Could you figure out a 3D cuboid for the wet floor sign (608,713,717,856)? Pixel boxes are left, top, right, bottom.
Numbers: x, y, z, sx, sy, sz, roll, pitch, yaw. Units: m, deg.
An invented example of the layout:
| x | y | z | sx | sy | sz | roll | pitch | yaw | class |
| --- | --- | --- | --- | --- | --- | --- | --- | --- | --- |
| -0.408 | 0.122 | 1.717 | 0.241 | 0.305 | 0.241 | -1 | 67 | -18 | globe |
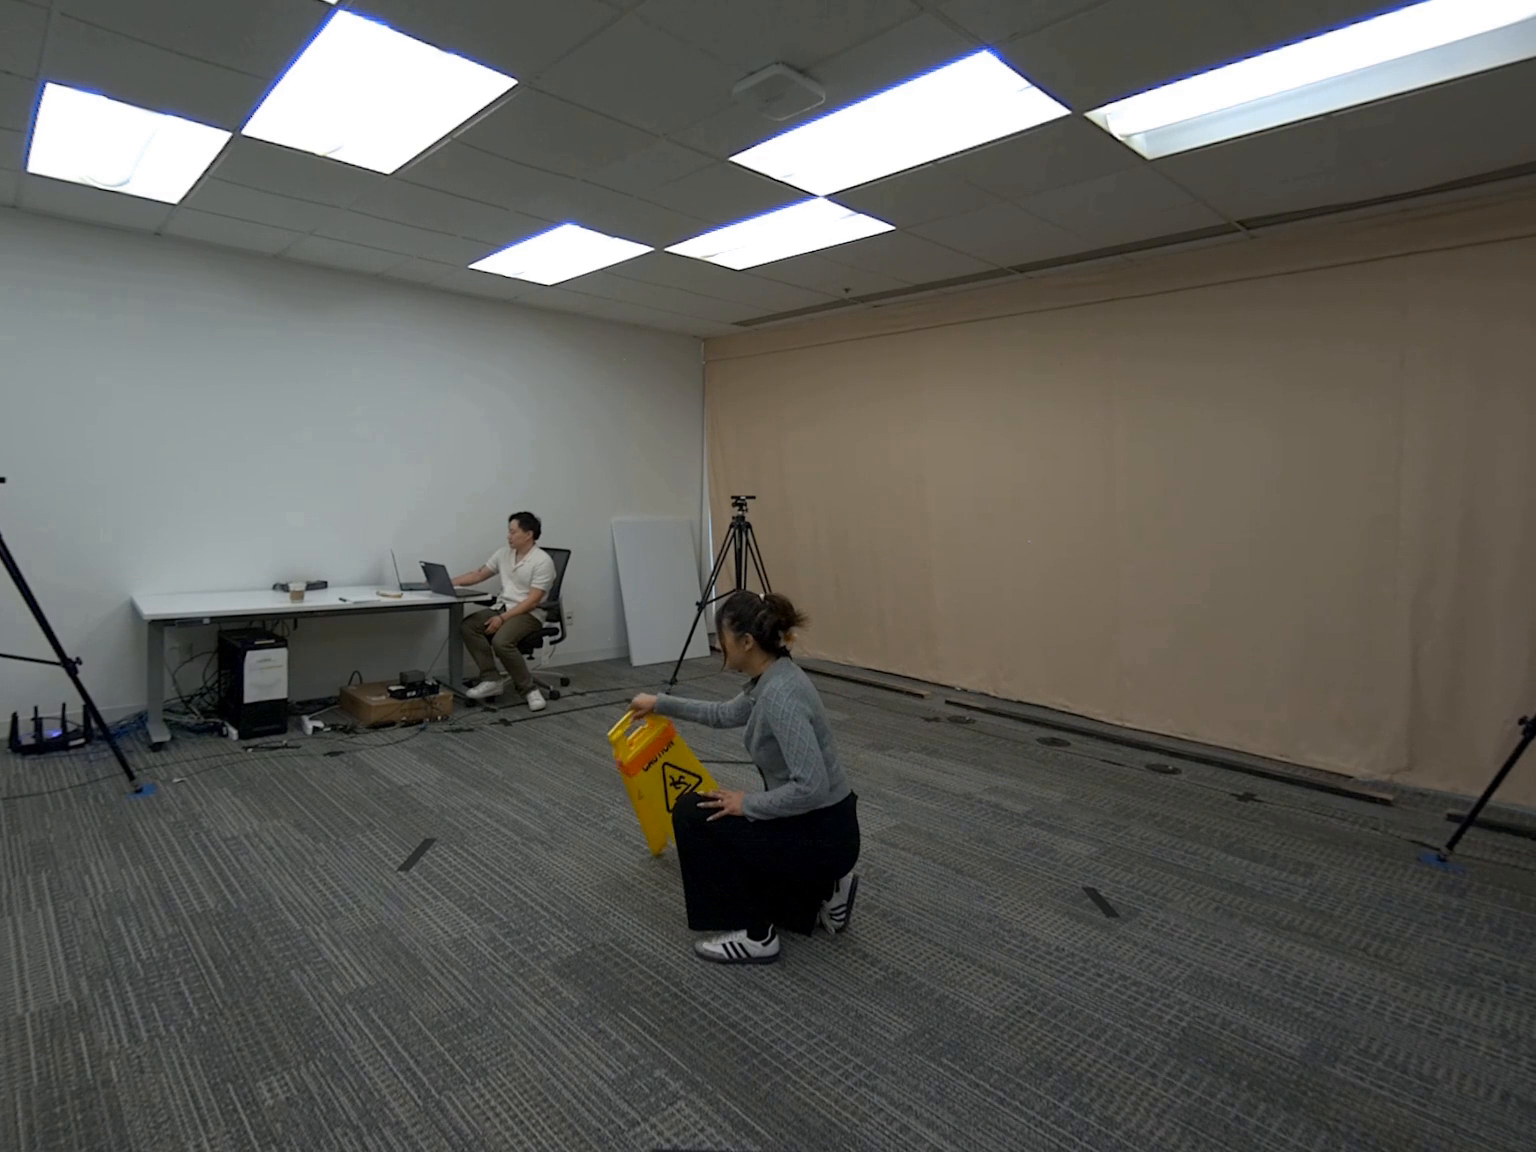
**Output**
| x | y | z | sx | sy | sz | roll | pitch | yaw | class |
| --- | --- | --- | --- | --- | --- | --- | --- | --- | --- |
| -0.384 | 0.761 | 3.091 | 0.297 | 0.632 | 0.281 | 6 | 38 | 48 | wet floor sign |
